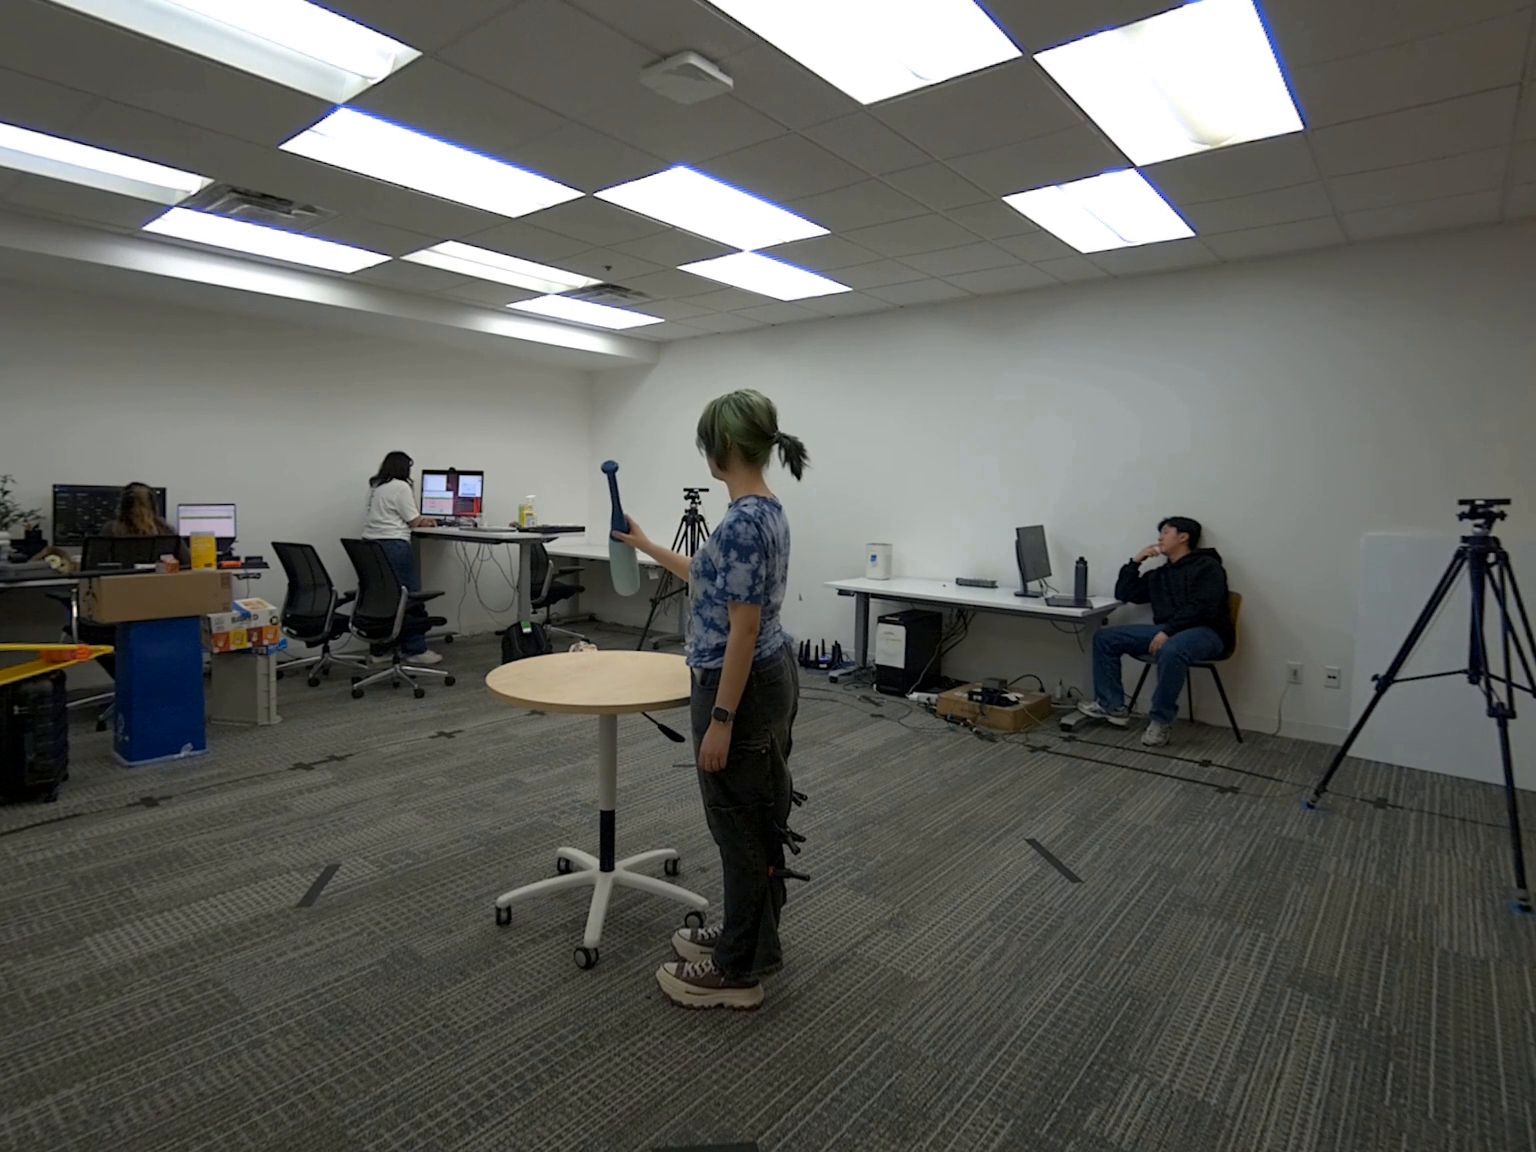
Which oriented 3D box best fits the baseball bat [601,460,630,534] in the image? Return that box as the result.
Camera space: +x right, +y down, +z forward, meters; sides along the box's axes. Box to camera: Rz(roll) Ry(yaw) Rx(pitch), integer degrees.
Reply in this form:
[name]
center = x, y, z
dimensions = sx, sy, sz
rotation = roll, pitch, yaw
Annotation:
[baseball bat]
center = -0.486, -0.144, 2.634
dimensions = 0.089, 0.528, 0.092
rotation = 1, 46, -3
